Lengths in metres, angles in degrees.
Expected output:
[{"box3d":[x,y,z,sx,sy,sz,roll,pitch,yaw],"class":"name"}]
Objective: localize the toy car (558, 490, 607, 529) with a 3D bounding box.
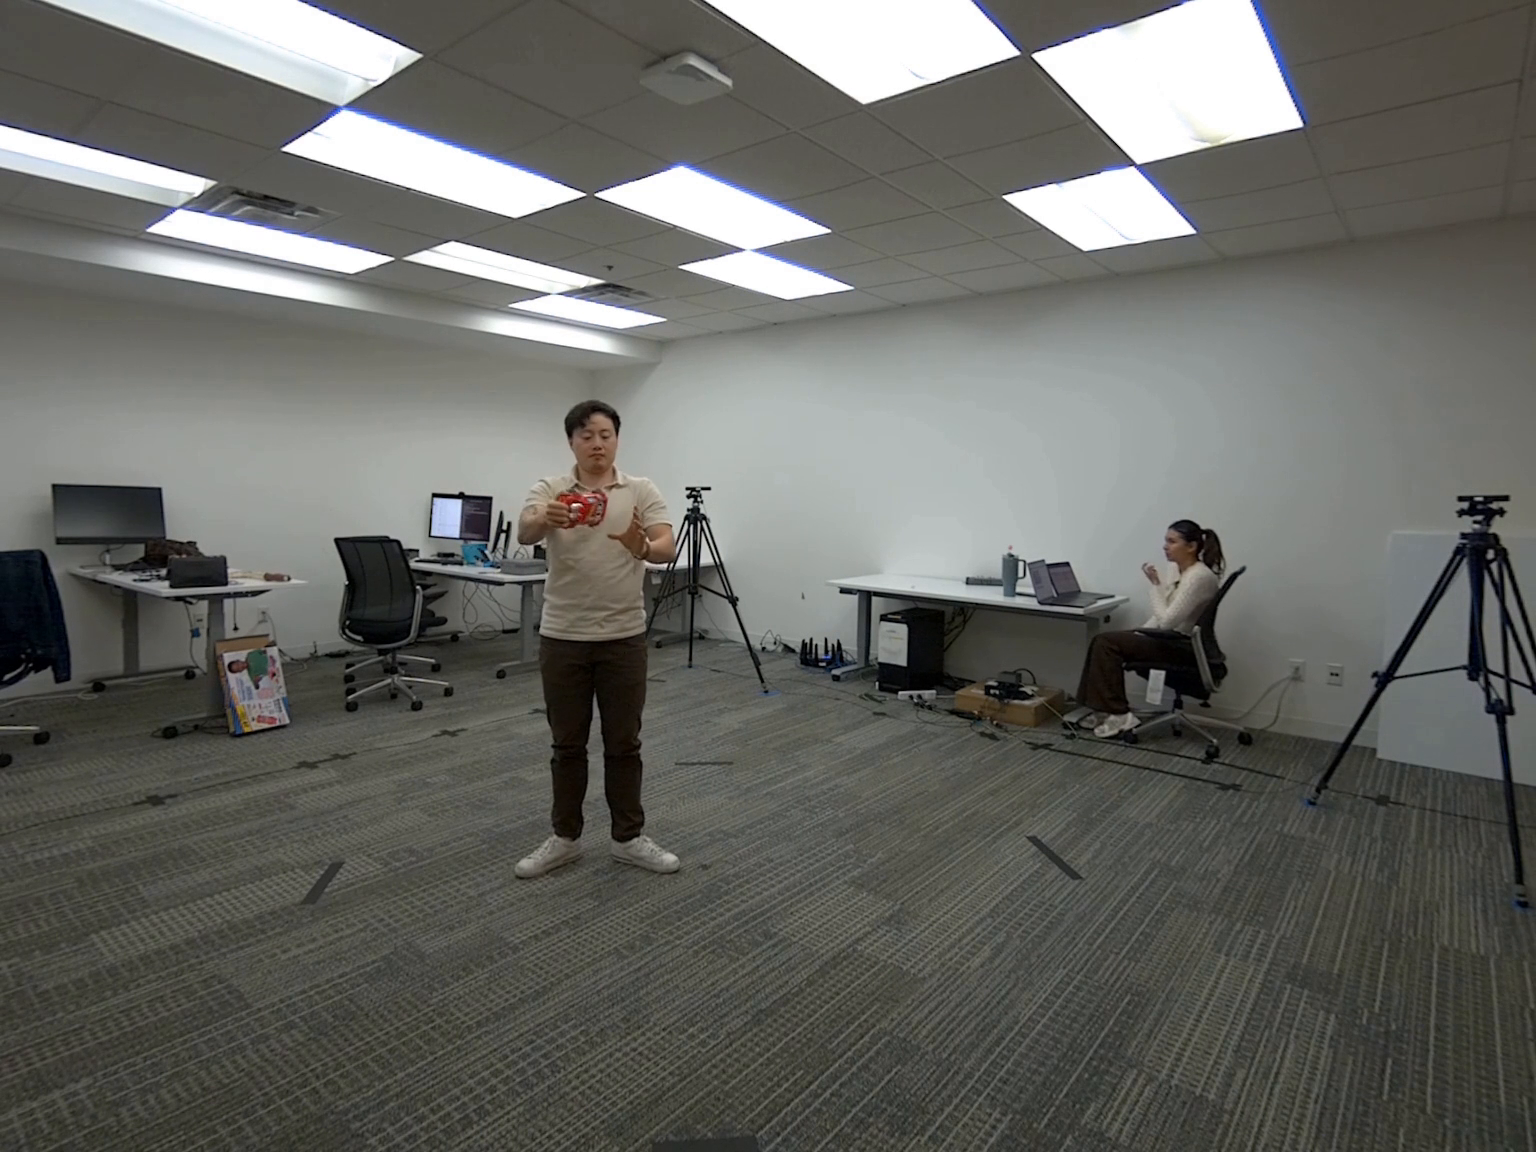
[{"box3d":[-0.604,-0.211,2.698,0.084,0.129,0.253,15,11,9],"class":"toy car"}]
